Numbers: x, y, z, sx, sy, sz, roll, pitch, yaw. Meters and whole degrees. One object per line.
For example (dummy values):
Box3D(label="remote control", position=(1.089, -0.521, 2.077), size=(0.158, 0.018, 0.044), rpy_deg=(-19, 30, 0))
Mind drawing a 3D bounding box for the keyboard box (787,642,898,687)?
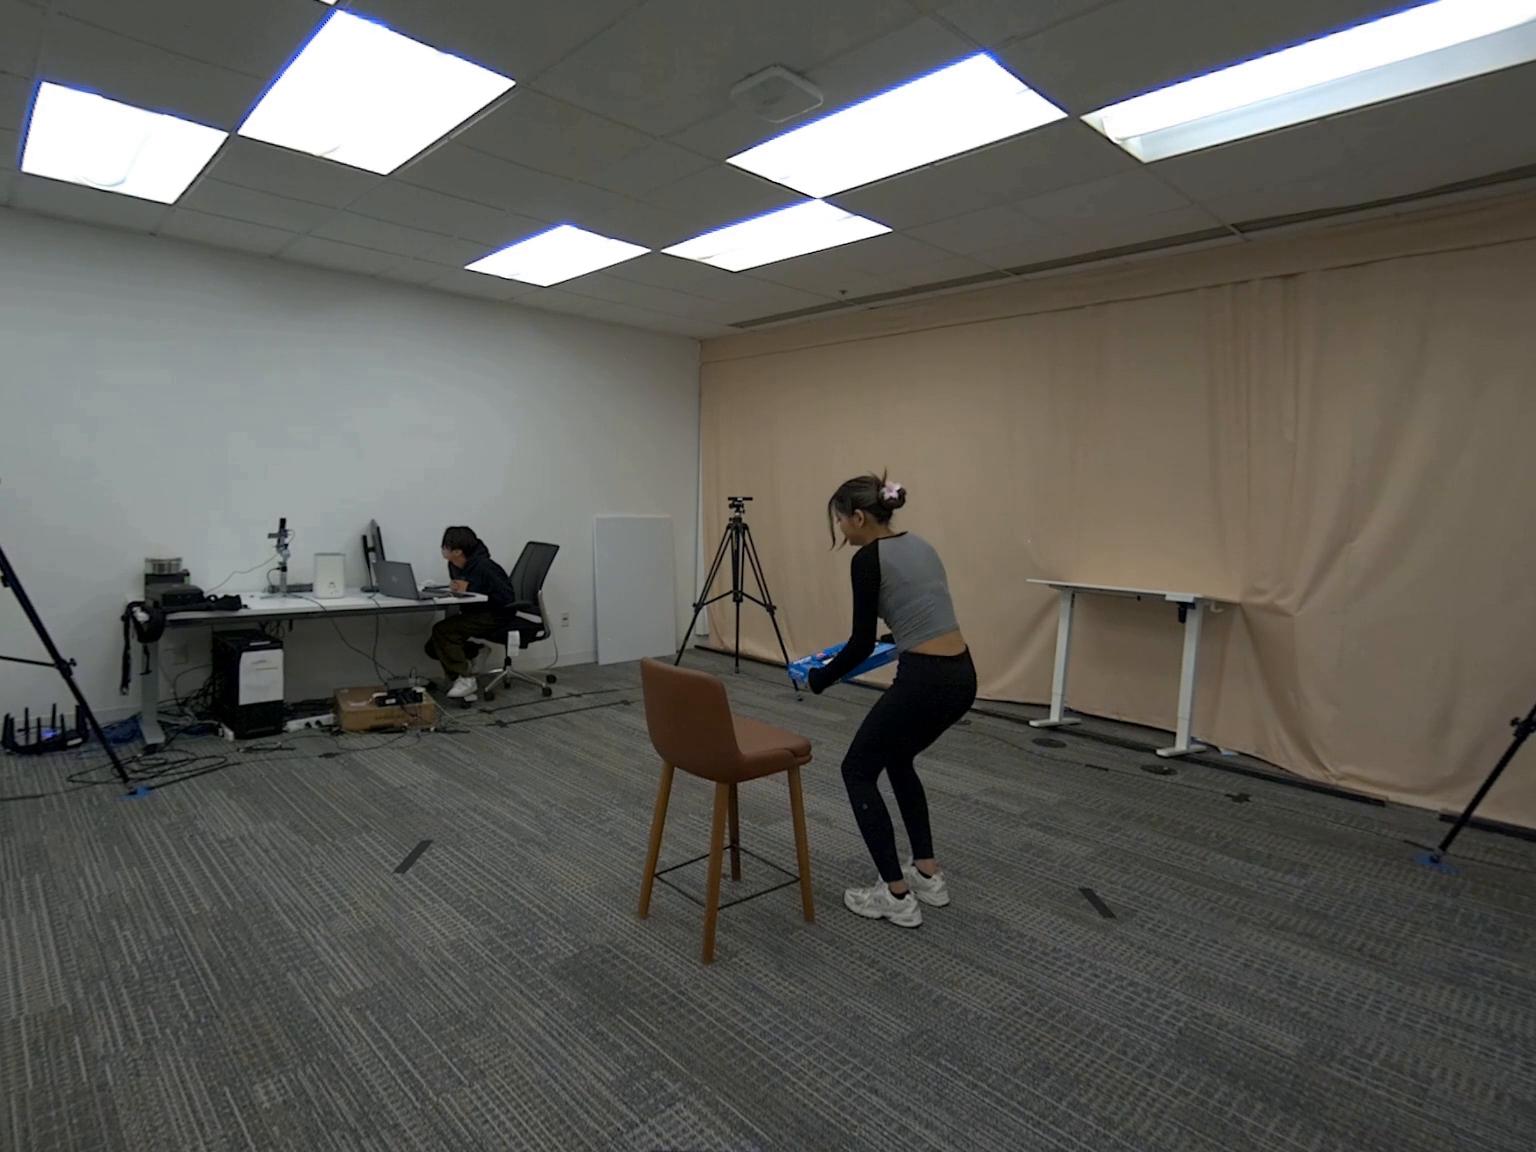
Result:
Box3D(label="keyboard box", position=(0.290, 0.332, 3.203), size=(0.429, 0.058, 0.181), rpy_deg=(-15, 19, -38))
